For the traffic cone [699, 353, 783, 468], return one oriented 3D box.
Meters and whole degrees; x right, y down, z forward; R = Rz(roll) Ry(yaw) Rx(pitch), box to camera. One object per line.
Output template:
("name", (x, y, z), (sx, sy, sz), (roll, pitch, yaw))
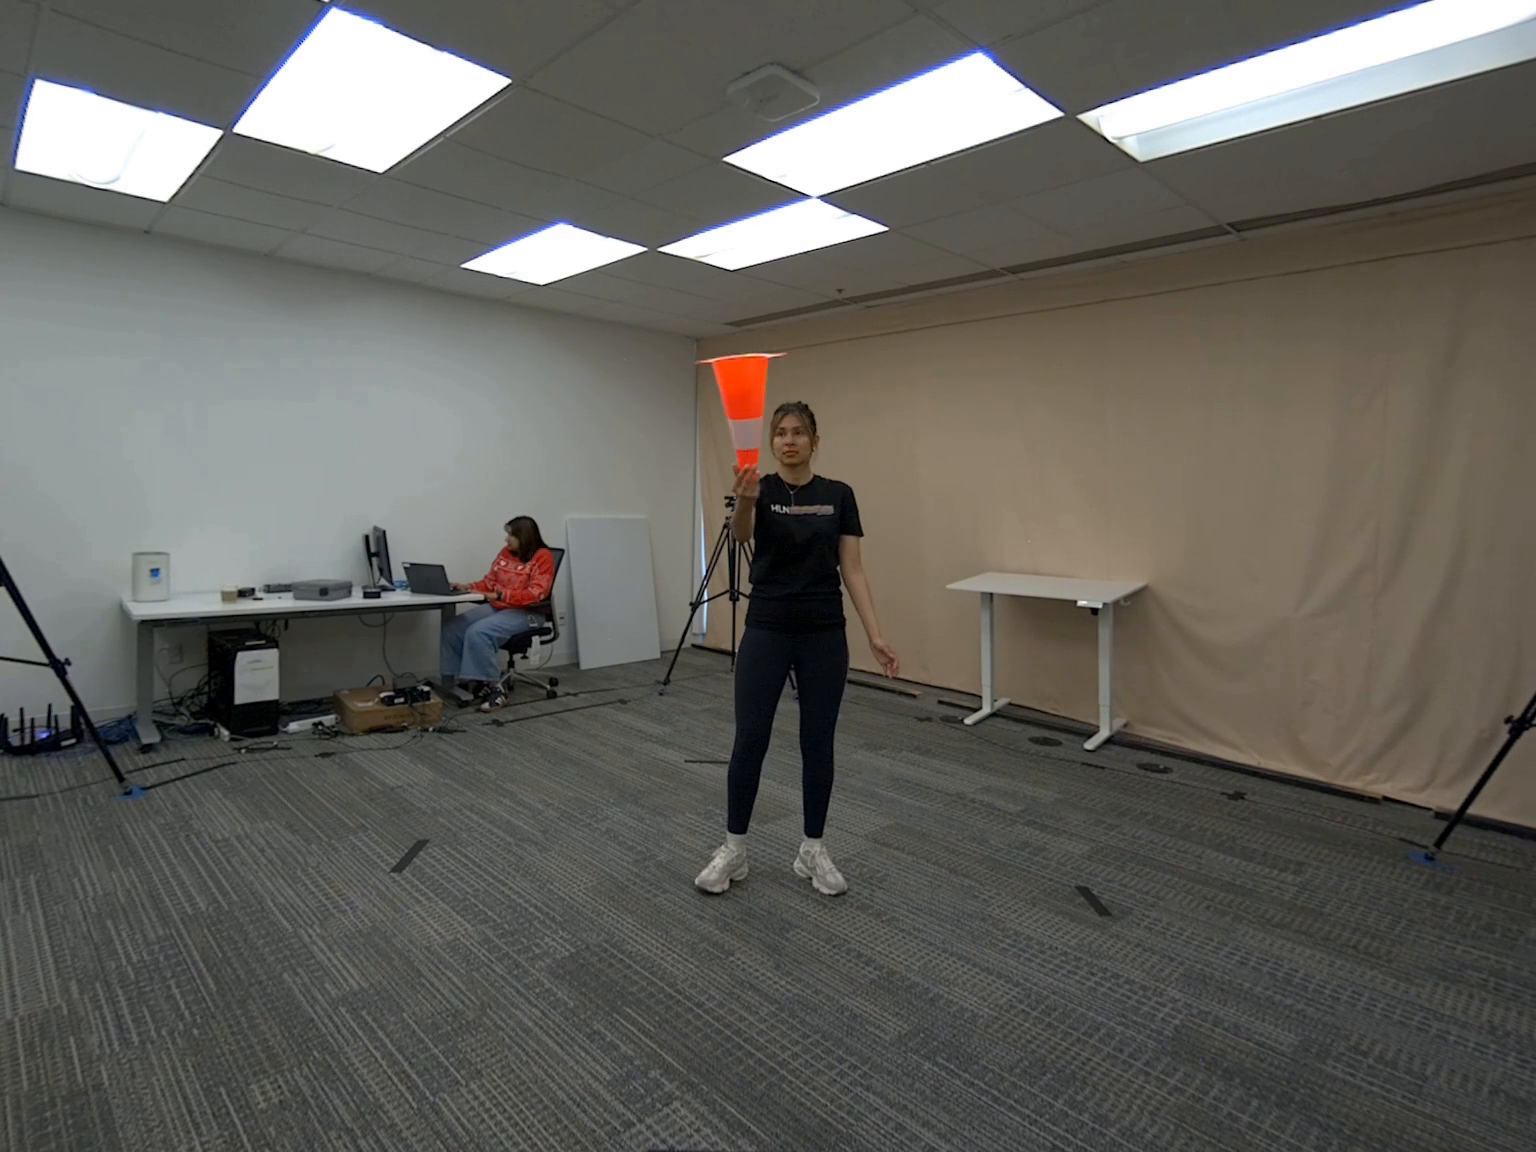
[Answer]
("traffic cone", (-0.066, -0.435, 2.413), (0.200, 0.379, 0.210), (-13, 16, -26))
